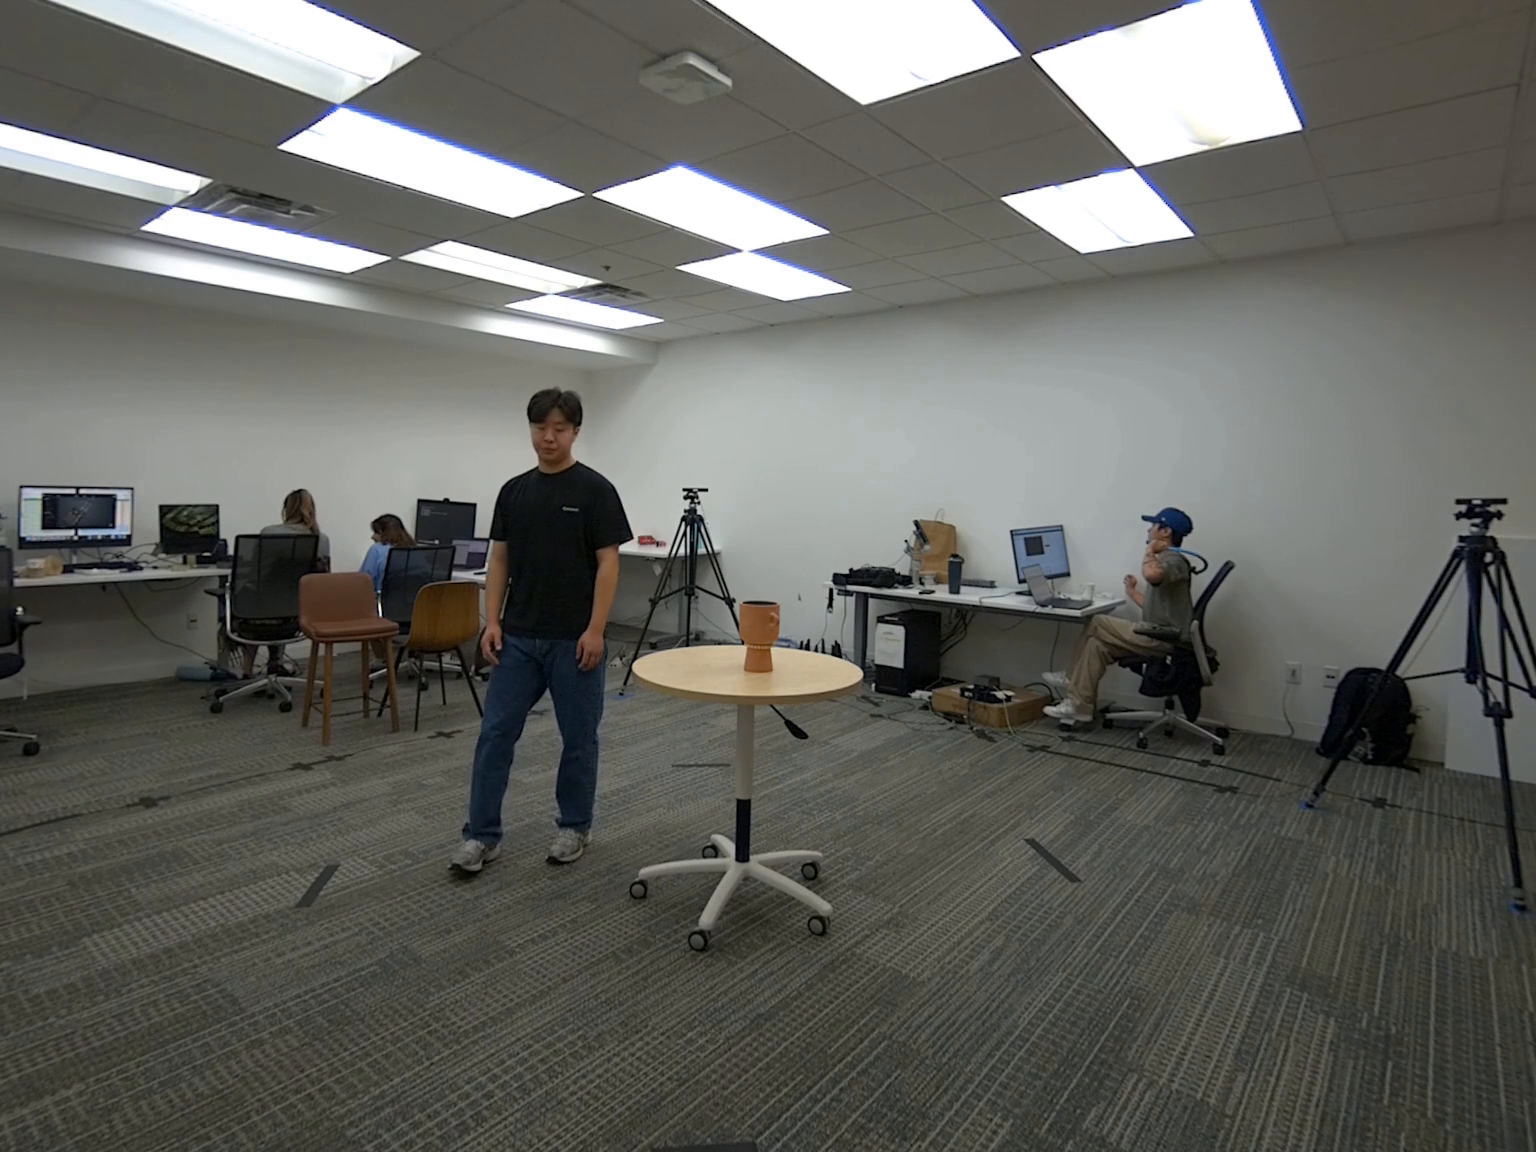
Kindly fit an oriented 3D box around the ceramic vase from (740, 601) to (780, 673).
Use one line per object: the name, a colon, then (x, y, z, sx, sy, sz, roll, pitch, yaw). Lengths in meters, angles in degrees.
ceramic vase: (-0.036, 0.199, 2.801, 0.135, 0.219, 0.159, 2, 4, 3)
